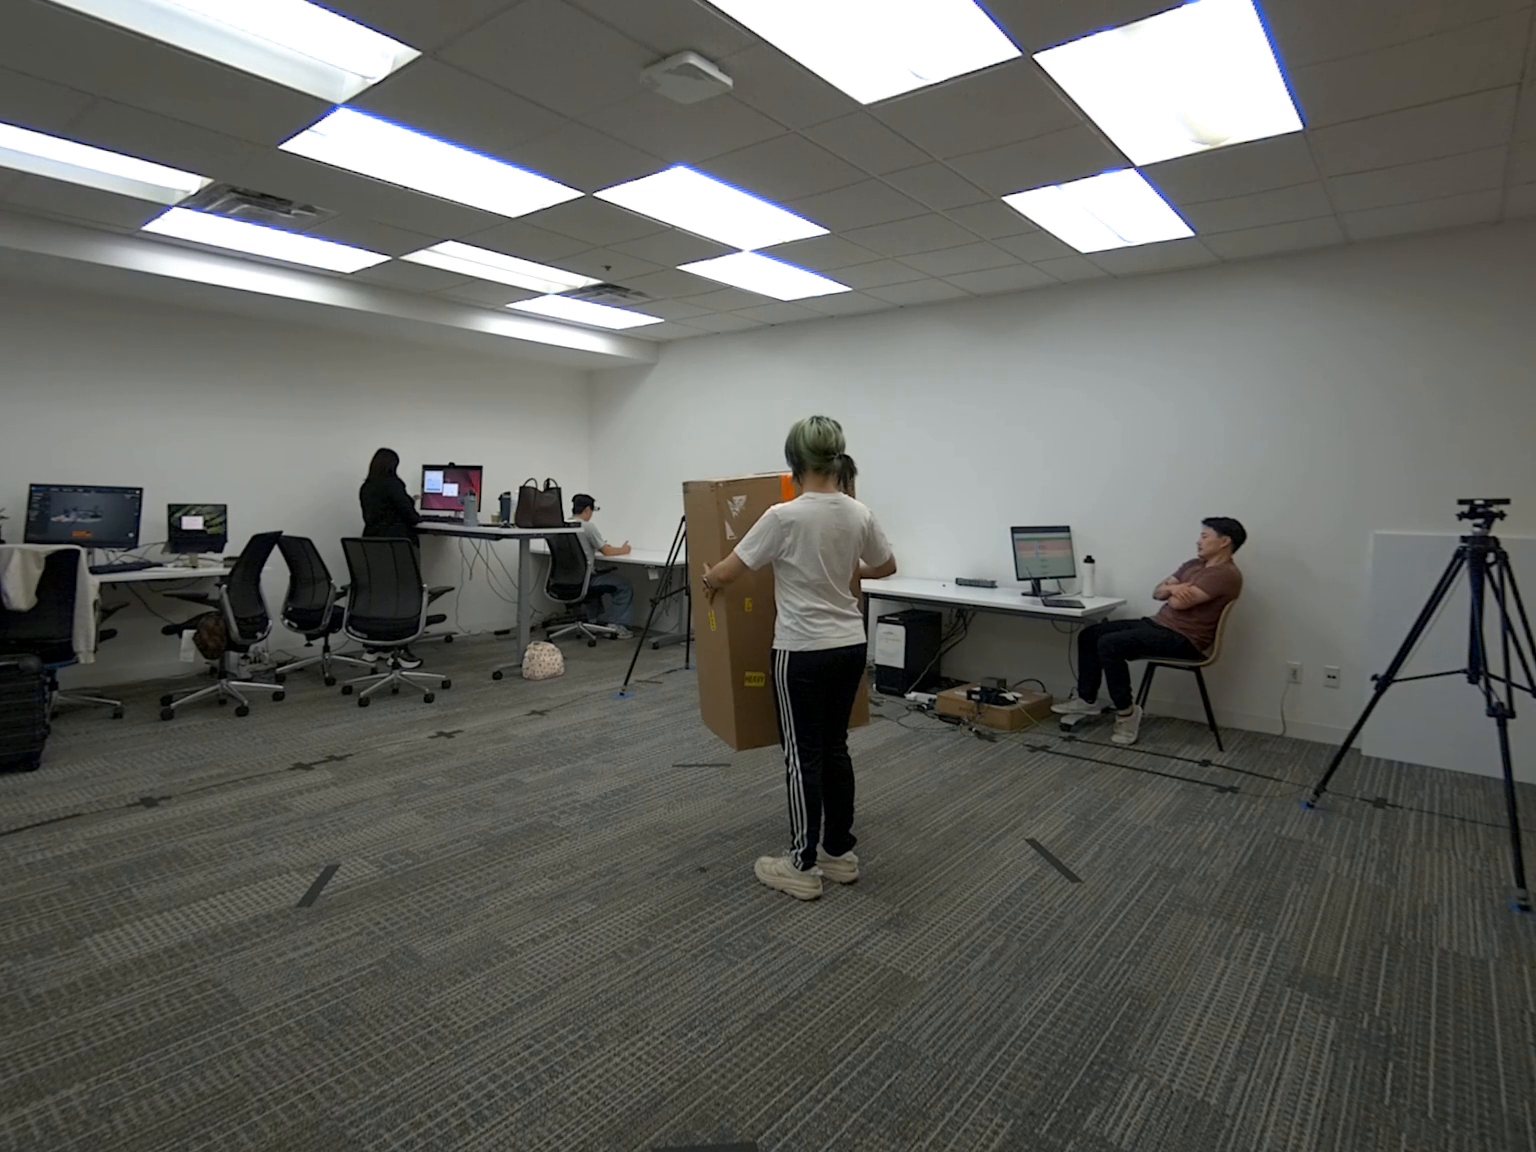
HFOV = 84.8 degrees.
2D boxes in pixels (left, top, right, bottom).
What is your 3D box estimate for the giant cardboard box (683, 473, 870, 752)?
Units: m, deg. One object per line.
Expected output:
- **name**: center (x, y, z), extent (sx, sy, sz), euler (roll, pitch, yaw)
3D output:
- **giant cardboard box**: center (0.014, 0.101, 3.434), extent (0.567, 1.020, 0.436), euler (-7, 6, -20)
